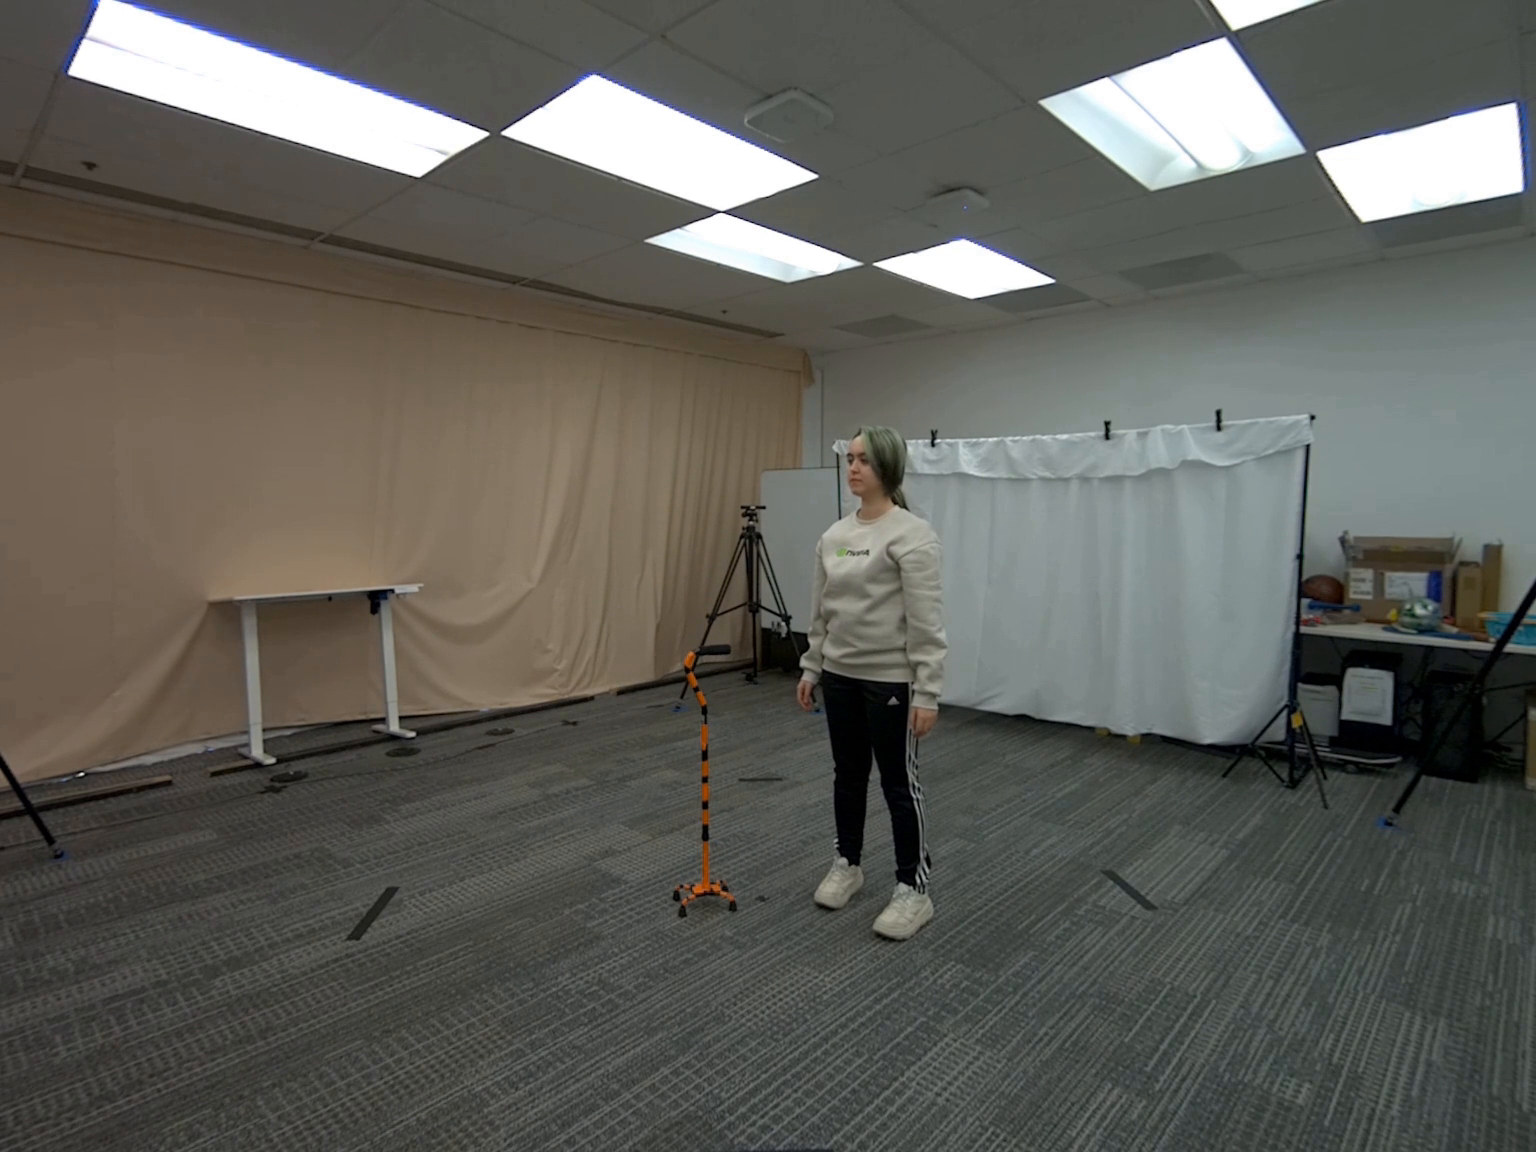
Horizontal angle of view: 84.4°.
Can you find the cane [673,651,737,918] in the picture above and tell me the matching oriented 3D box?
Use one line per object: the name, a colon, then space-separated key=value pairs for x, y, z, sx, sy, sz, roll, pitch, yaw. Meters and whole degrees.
cane: x=-0.223 y=0.701 z=2.921 sx=0.204 sy=0.906 sz=0.154 roll=-2 pitch=3 yaw=-13
